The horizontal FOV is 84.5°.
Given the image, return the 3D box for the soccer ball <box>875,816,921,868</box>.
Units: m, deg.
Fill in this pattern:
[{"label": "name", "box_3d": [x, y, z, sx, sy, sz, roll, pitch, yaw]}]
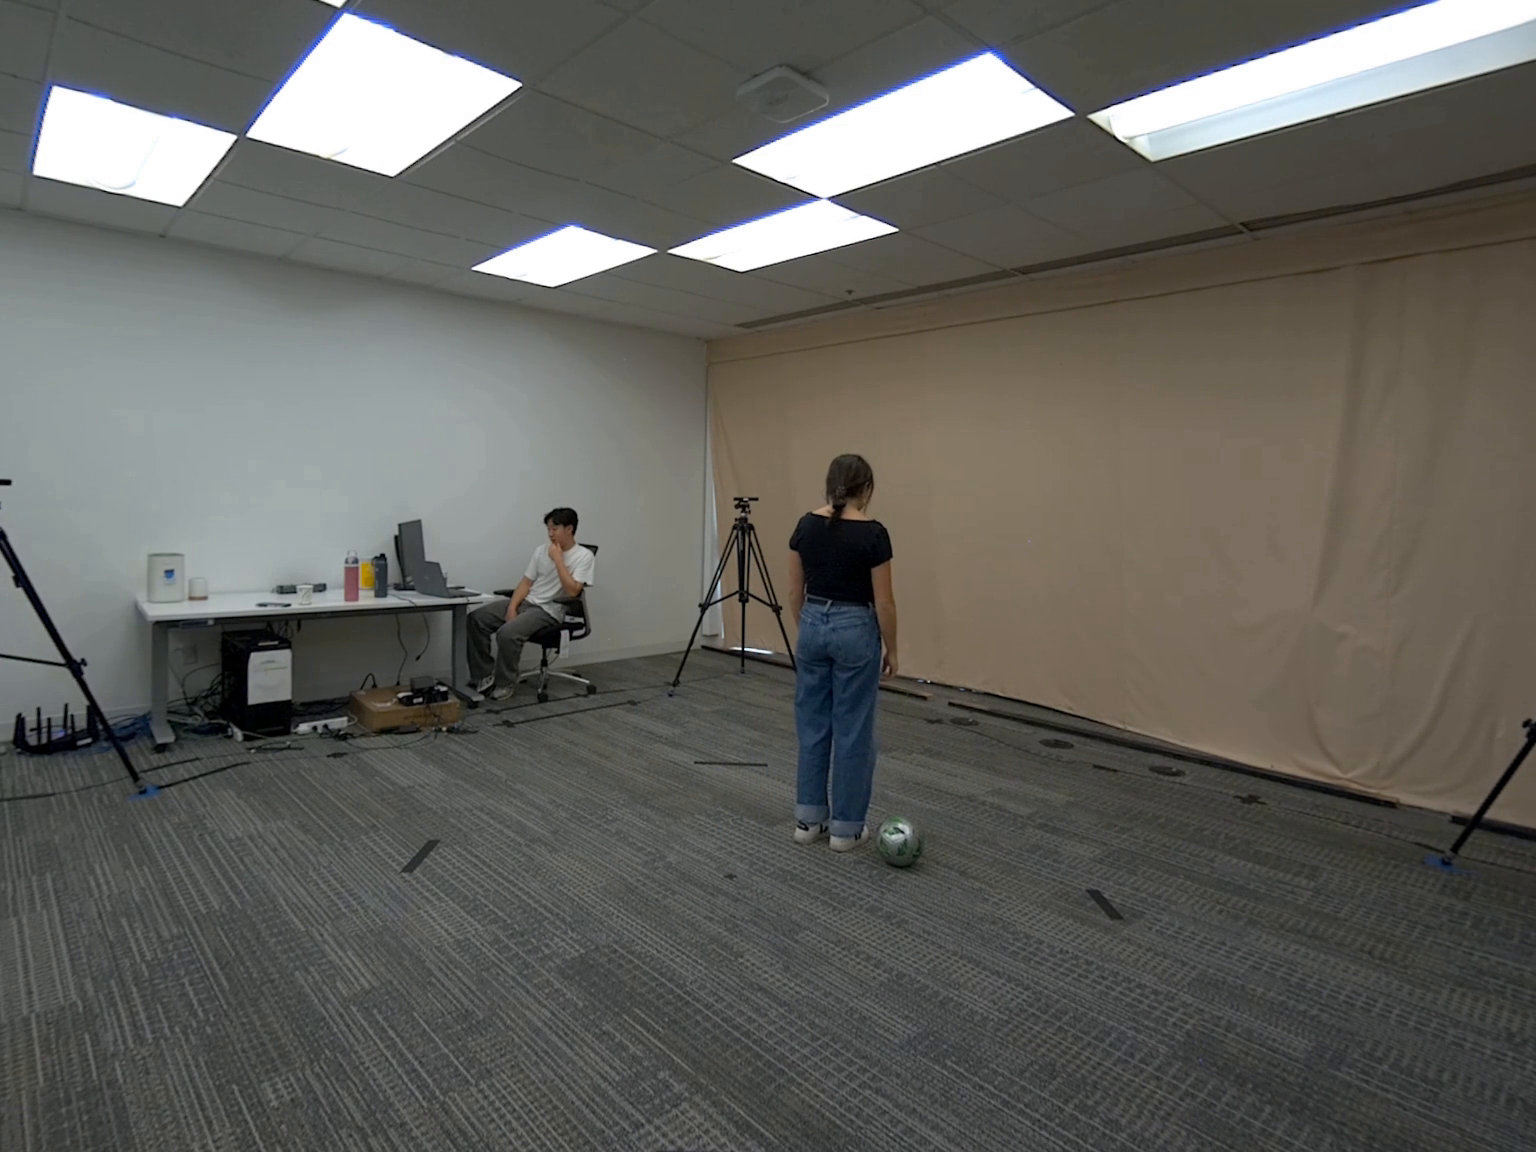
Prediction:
[{"label": "soccer ball", "box_3d": [0.491, 1.023, 3.236, 0.187, 0.187, 0.188, 1, 4, -1]}]
